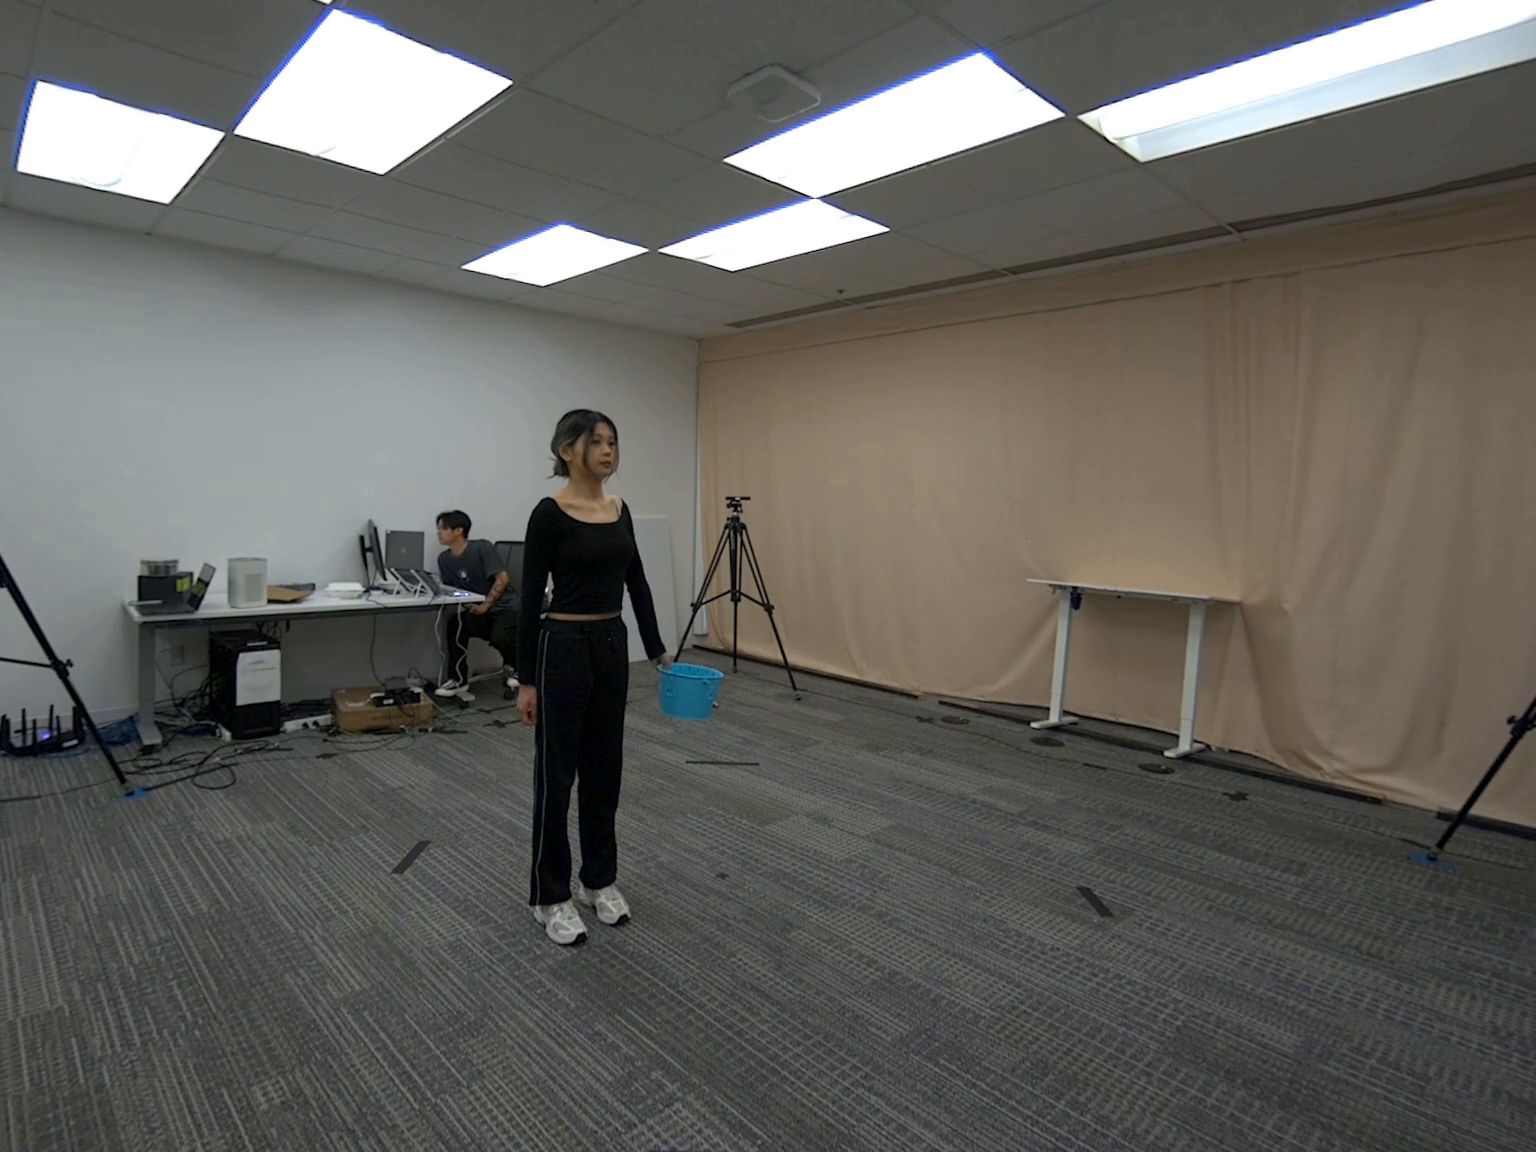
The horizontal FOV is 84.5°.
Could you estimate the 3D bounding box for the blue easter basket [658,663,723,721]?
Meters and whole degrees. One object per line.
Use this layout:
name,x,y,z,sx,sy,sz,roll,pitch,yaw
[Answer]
blue easter basket,-0.280,0.406,2.960,0.243,0.155,0.244,7,4,-2
